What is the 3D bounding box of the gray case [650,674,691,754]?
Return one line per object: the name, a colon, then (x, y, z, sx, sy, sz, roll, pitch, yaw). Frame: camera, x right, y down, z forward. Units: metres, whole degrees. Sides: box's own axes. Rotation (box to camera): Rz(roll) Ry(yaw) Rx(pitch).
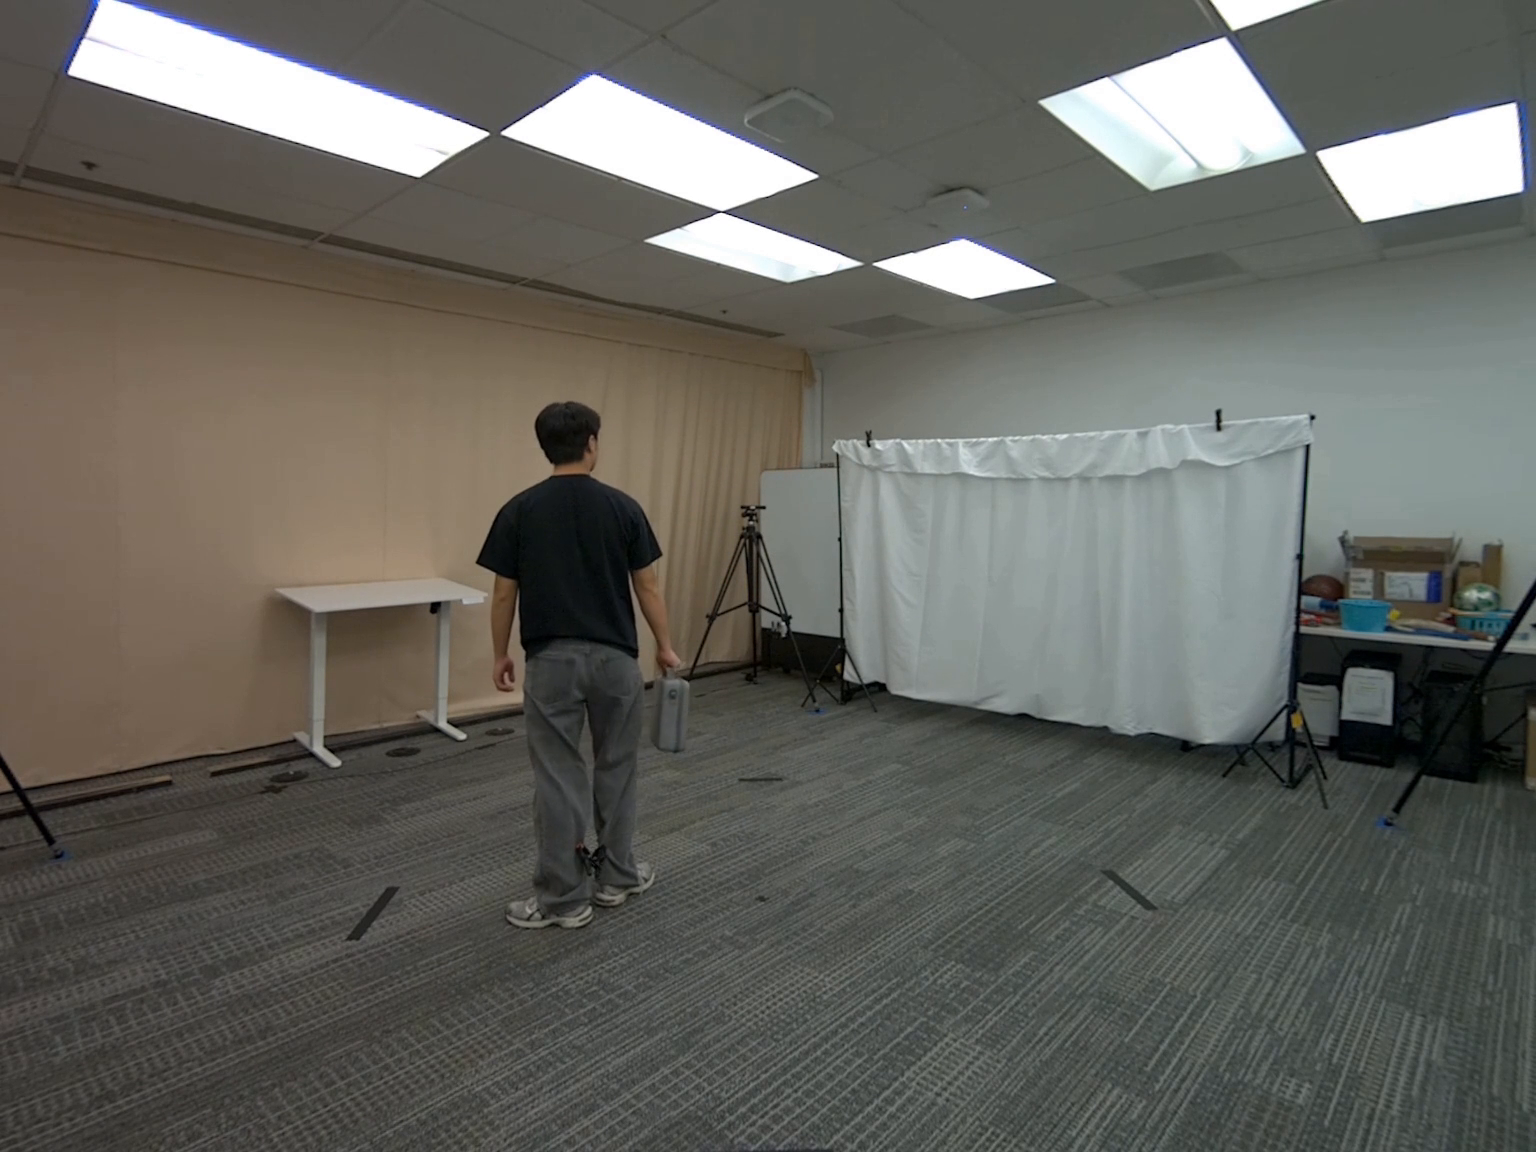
gray case: (-0.356, 0.479, 3.047, 0.102, 0.288, 0.266, 5, -4, -12)
